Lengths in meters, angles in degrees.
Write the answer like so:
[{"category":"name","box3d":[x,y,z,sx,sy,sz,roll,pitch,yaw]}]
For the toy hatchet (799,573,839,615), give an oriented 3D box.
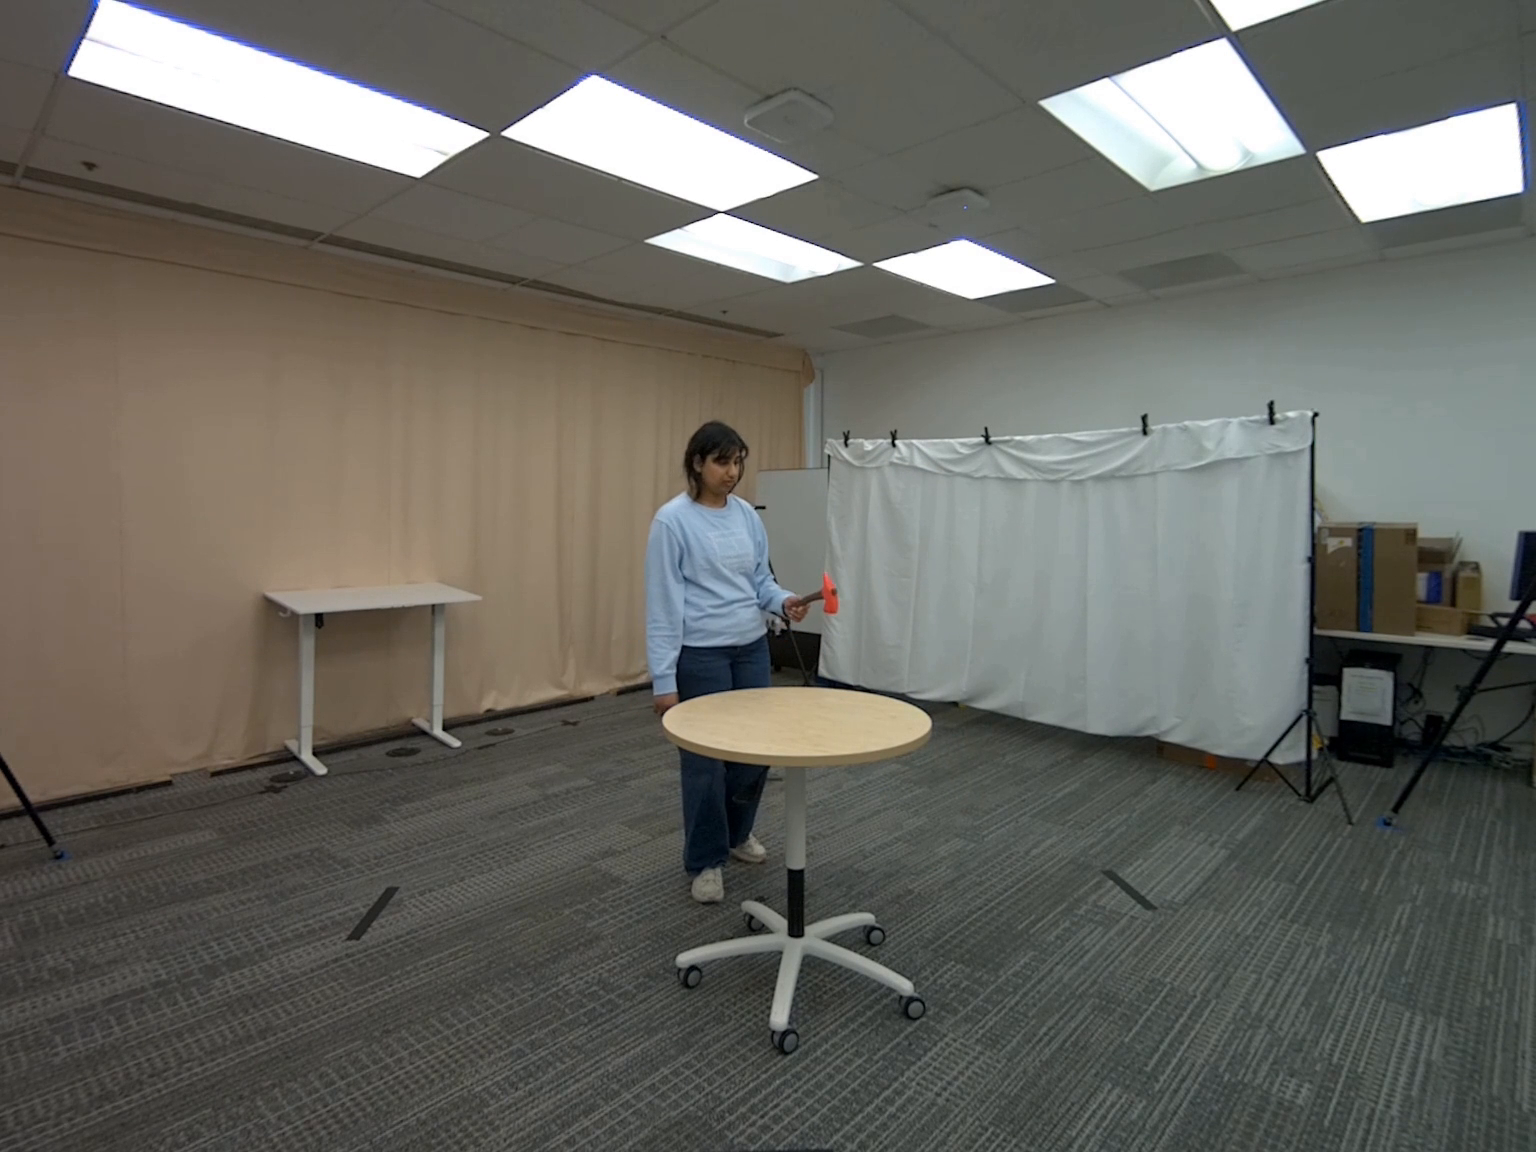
[{"category":"toy hatchet","box3d":[0.154,0.107,2.782,0.029,0.133,0.272,-14,-23,-38]}]
